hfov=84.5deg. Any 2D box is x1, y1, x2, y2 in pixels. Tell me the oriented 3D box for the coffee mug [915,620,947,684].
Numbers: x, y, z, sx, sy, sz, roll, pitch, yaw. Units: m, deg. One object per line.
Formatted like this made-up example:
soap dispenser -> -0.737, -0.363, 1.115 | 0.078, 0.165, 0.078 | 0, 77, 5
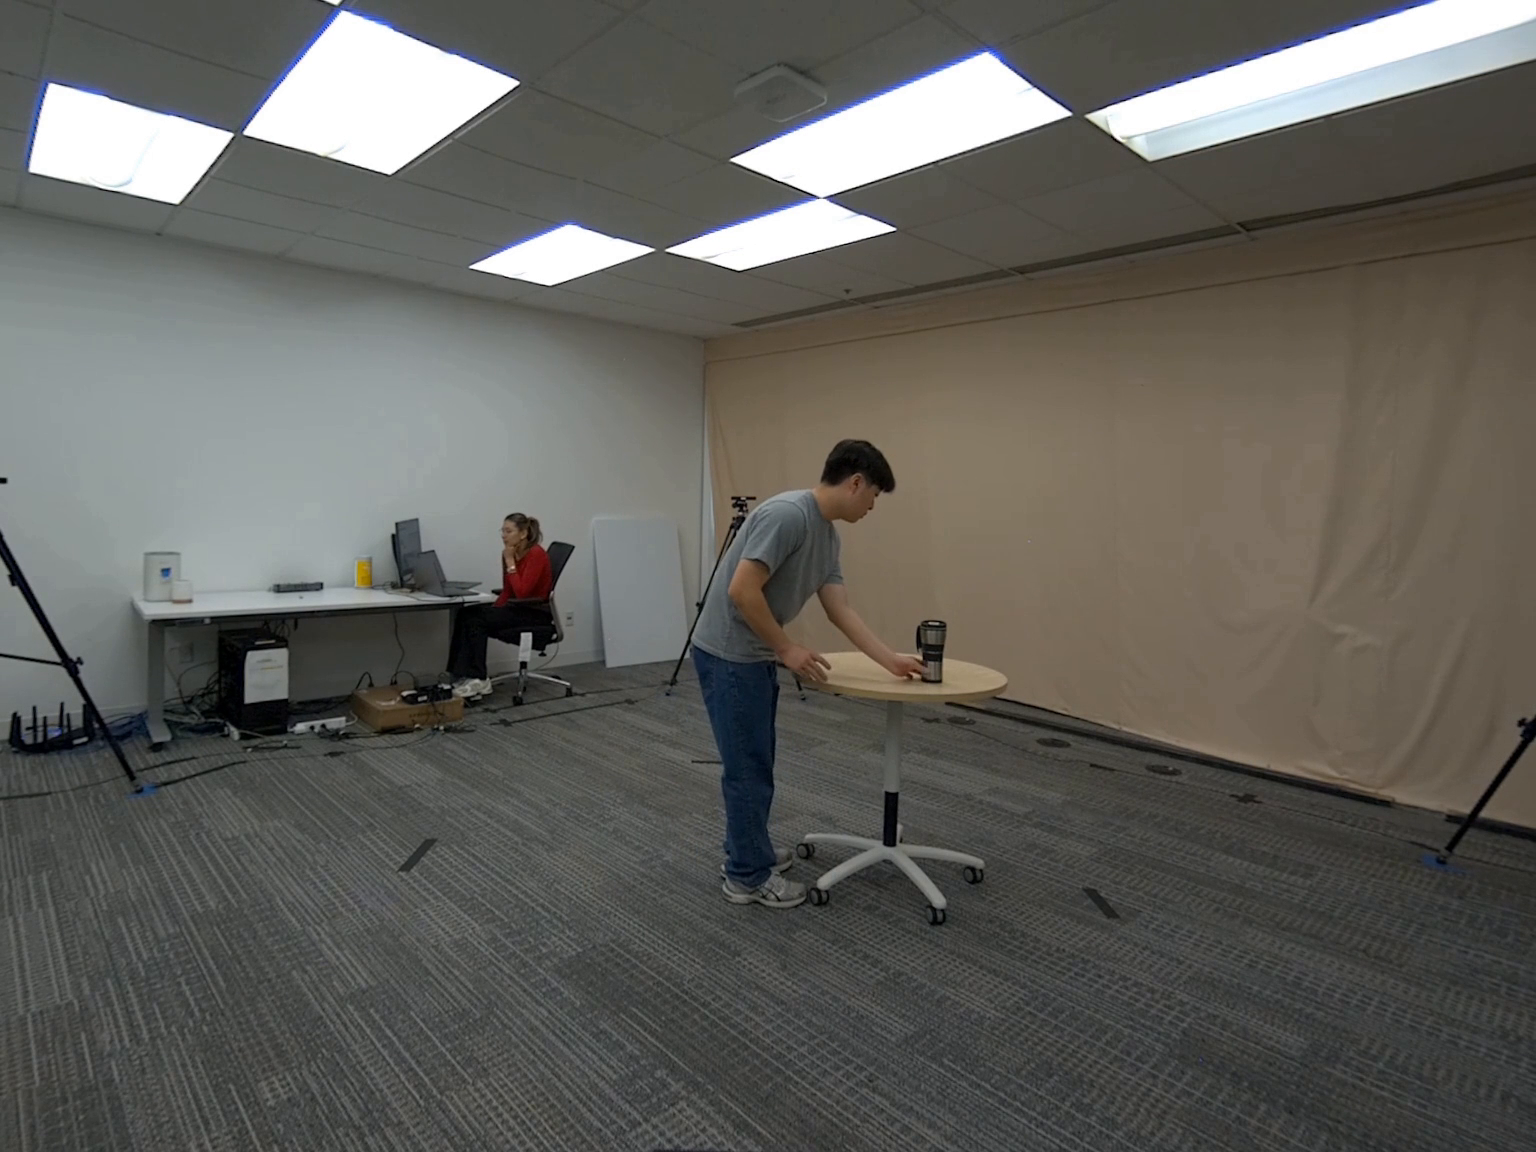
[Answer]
coffee mug -> 0.558, 0.257, 2.883 | 0.088, 0.202, 0.122 | 1, 5, 1
